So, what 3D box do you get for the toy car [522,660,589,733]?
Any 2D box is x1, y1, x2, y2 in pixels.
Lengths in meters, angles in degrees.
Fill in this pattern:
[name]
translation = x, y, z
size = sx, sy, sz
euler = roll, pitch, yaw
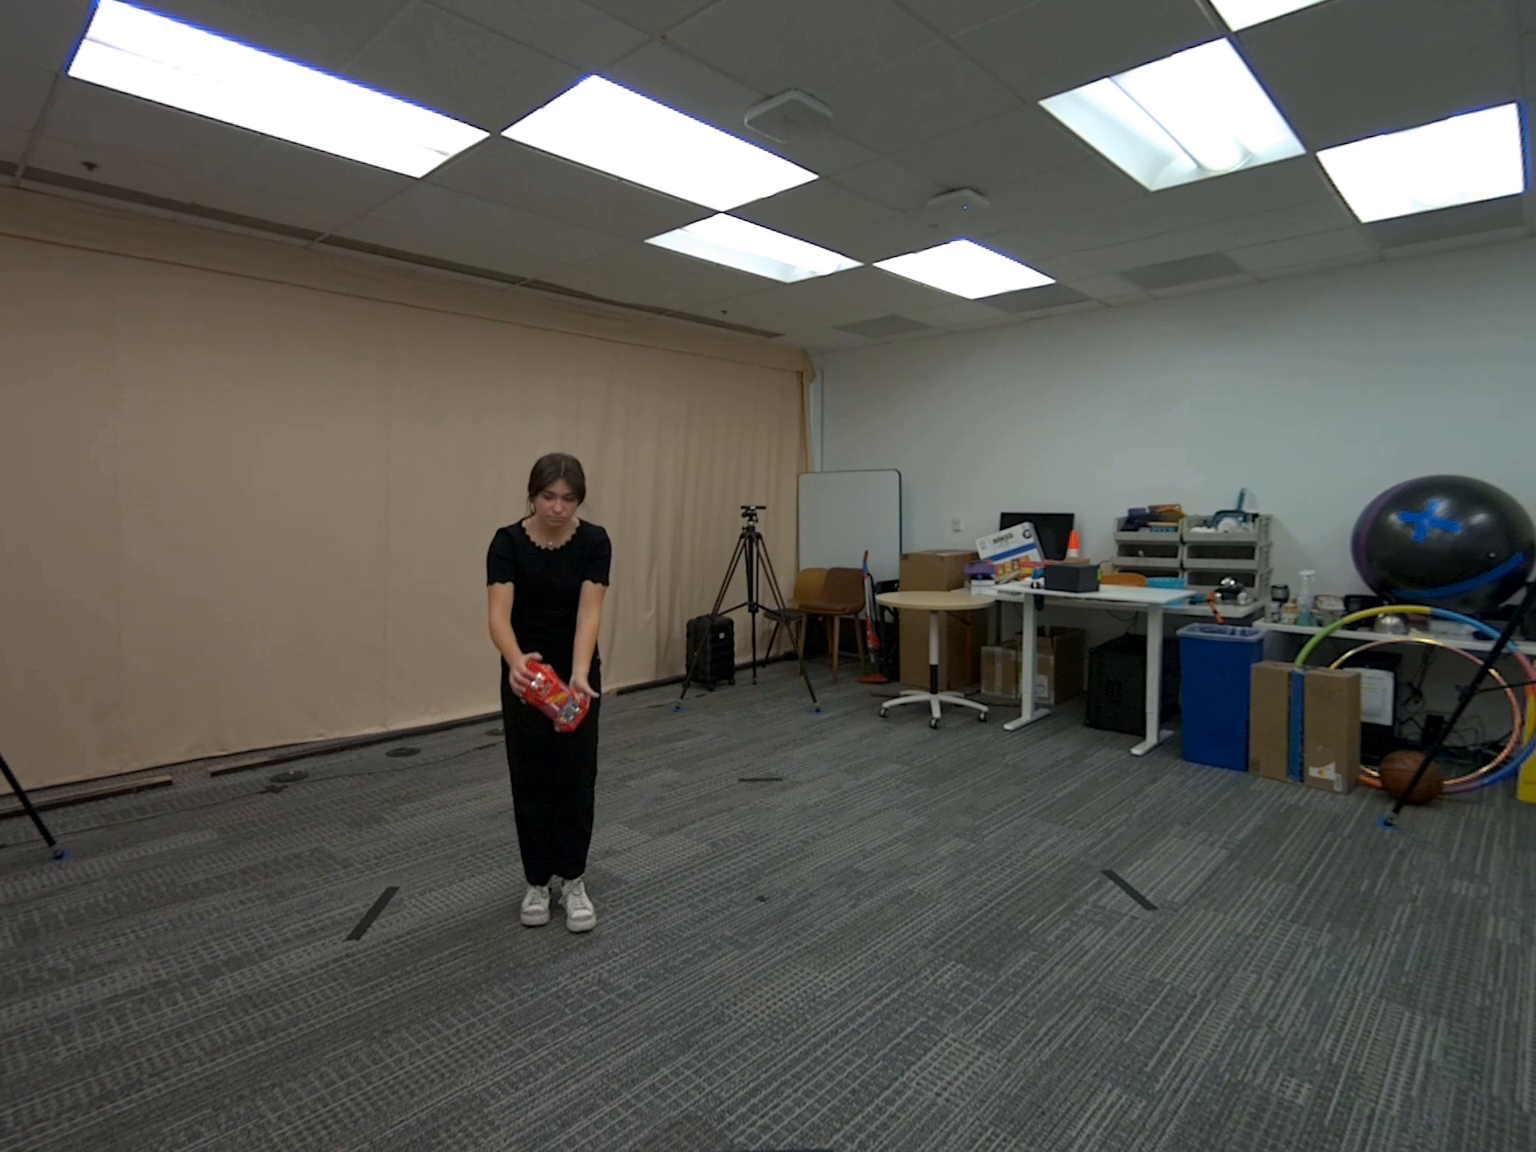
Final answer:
[toy car]
translation = -0.635, 0.341, 2.463
size = 0.086, 0.130, 0.246
euler = 13, -32, 43
